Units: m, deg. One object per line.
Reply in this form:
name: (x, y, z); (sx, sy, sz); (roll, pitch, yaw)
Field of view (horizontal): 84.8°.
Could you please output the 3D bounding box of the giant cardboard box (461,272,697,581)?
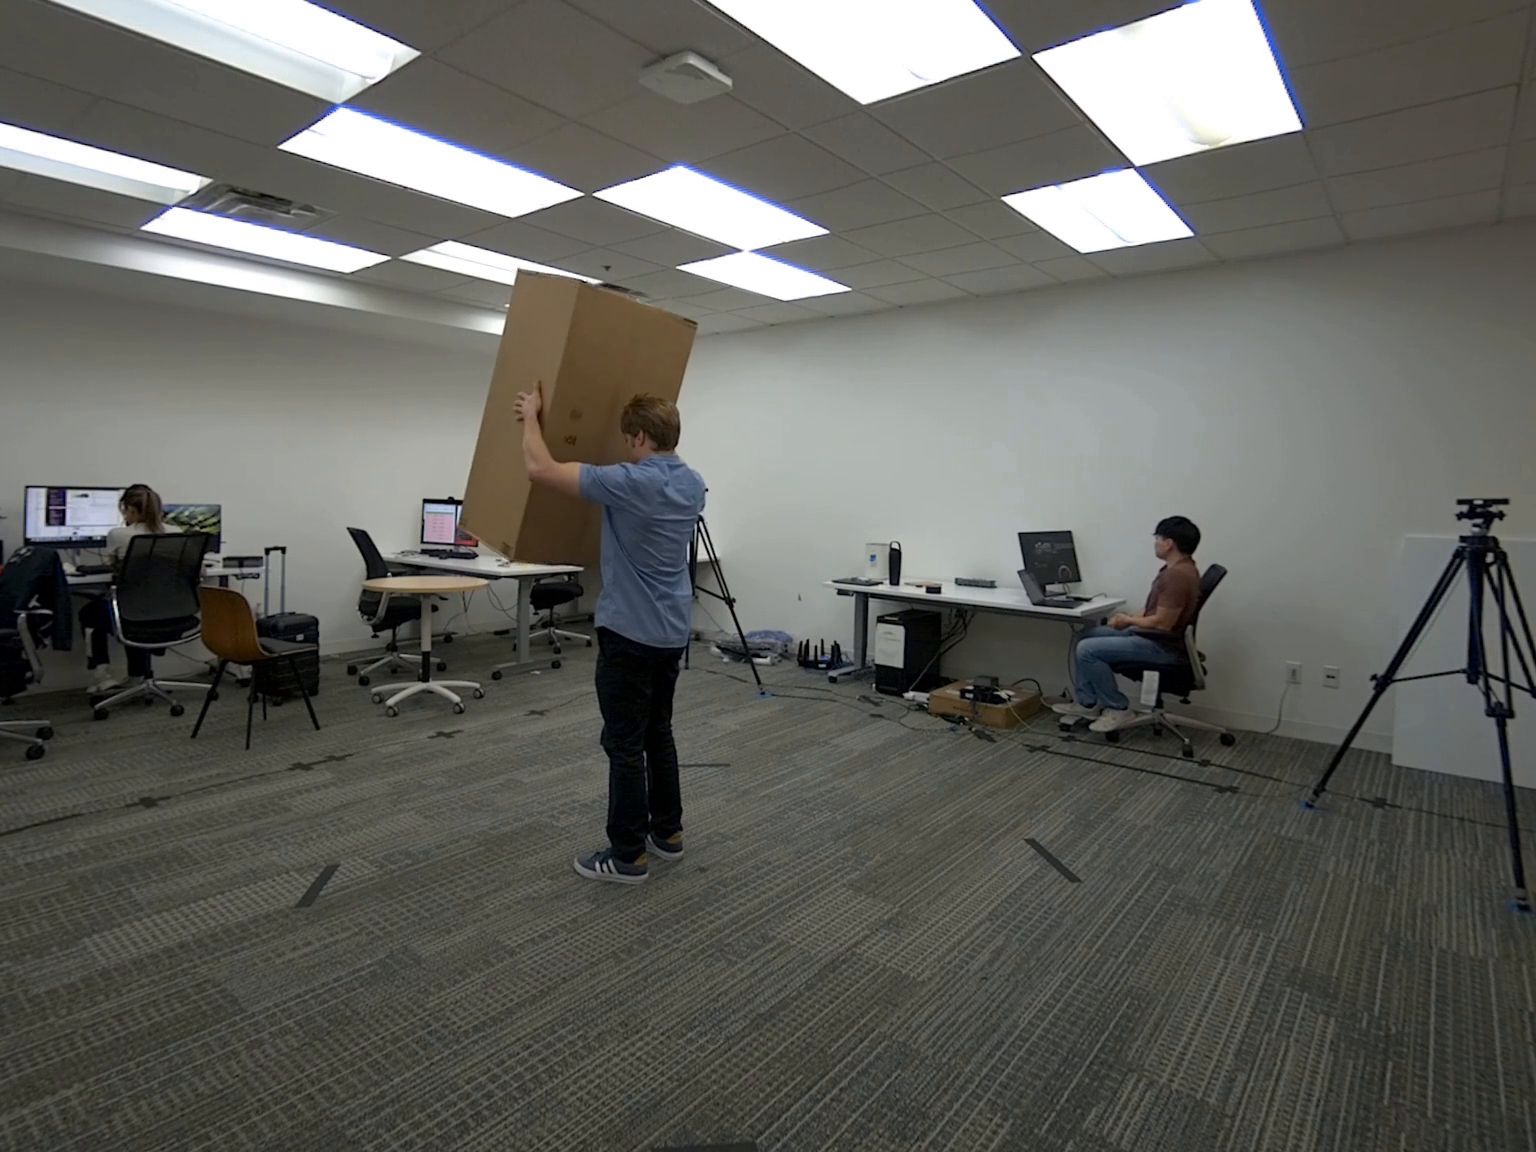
giant cardboard box: (-0.758, -0.582, 3.307); (0.444, 1.019, 0.558); (25, 13, 40)
